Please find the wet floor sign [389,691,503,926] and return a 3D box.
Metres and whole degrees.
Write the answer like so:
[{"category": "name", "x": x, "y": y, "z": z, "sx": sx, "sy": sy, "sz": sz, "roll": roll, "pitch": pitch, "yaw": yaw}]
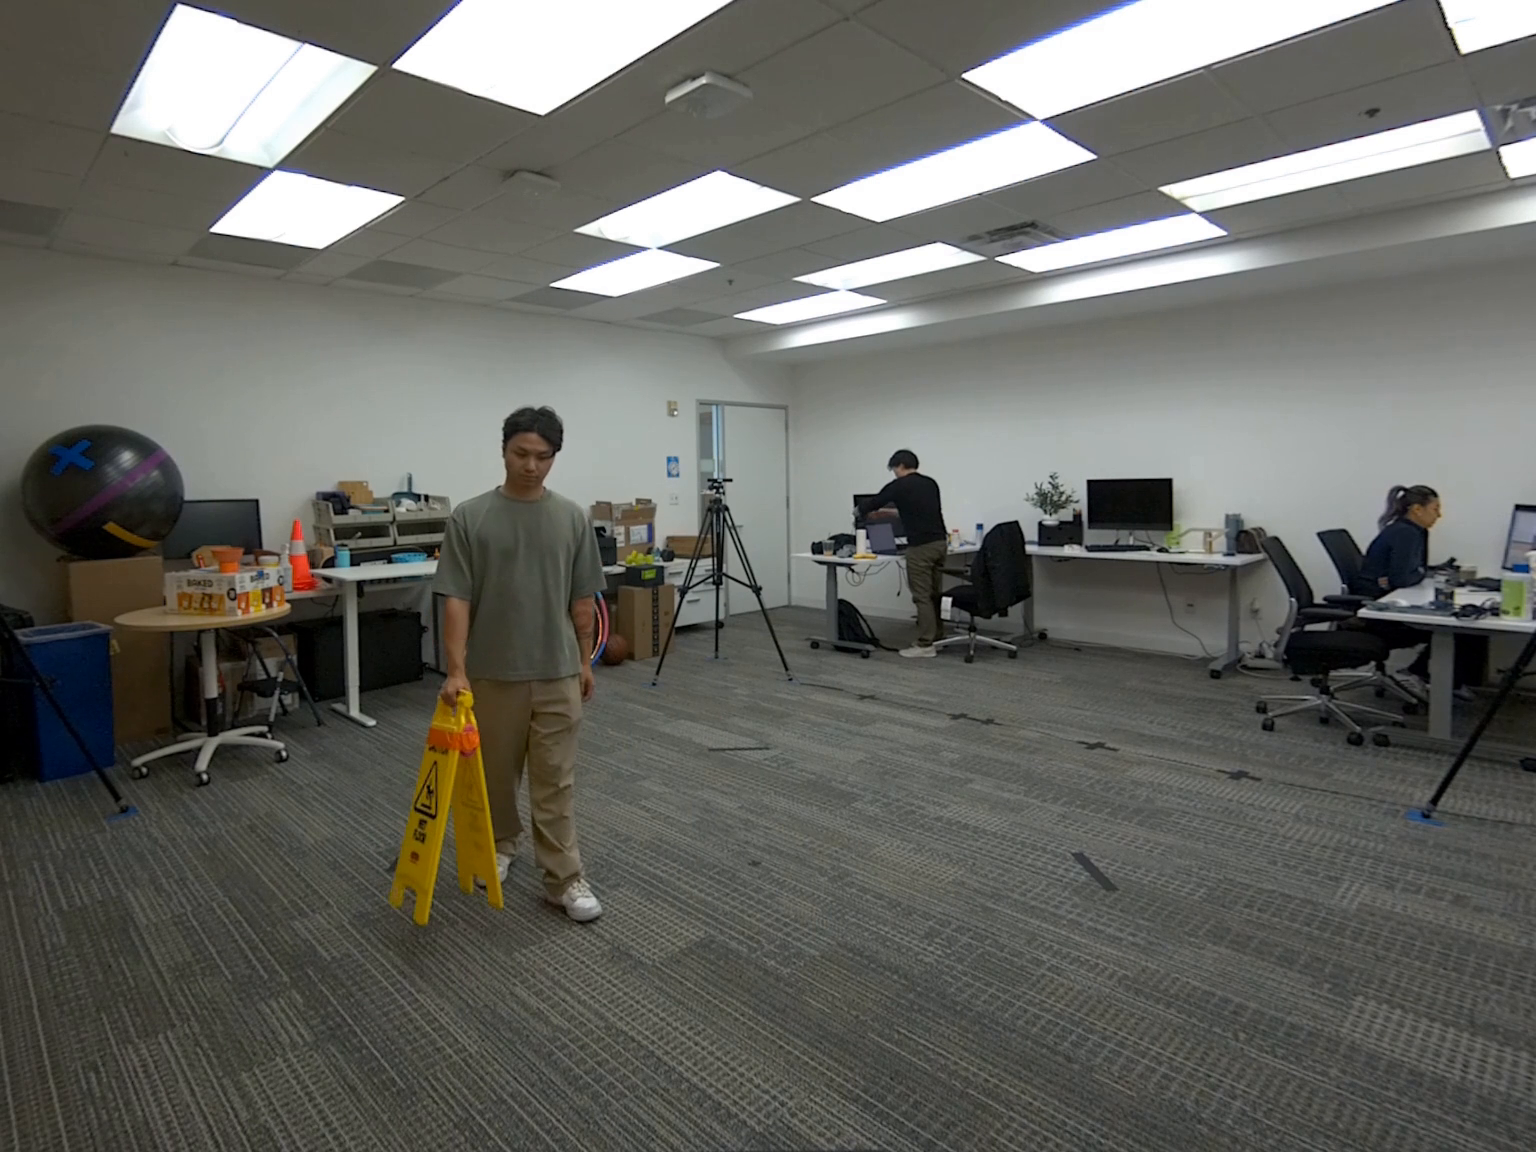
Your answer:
[{"category": "wet floor sign", "x": -0.987, "y": 0.679, "z": 2.650, "sx": 0.281, "sy": 0.649, "sz": 0.289, "roll": 5, "pitch": -7, "yaw": -41}]
